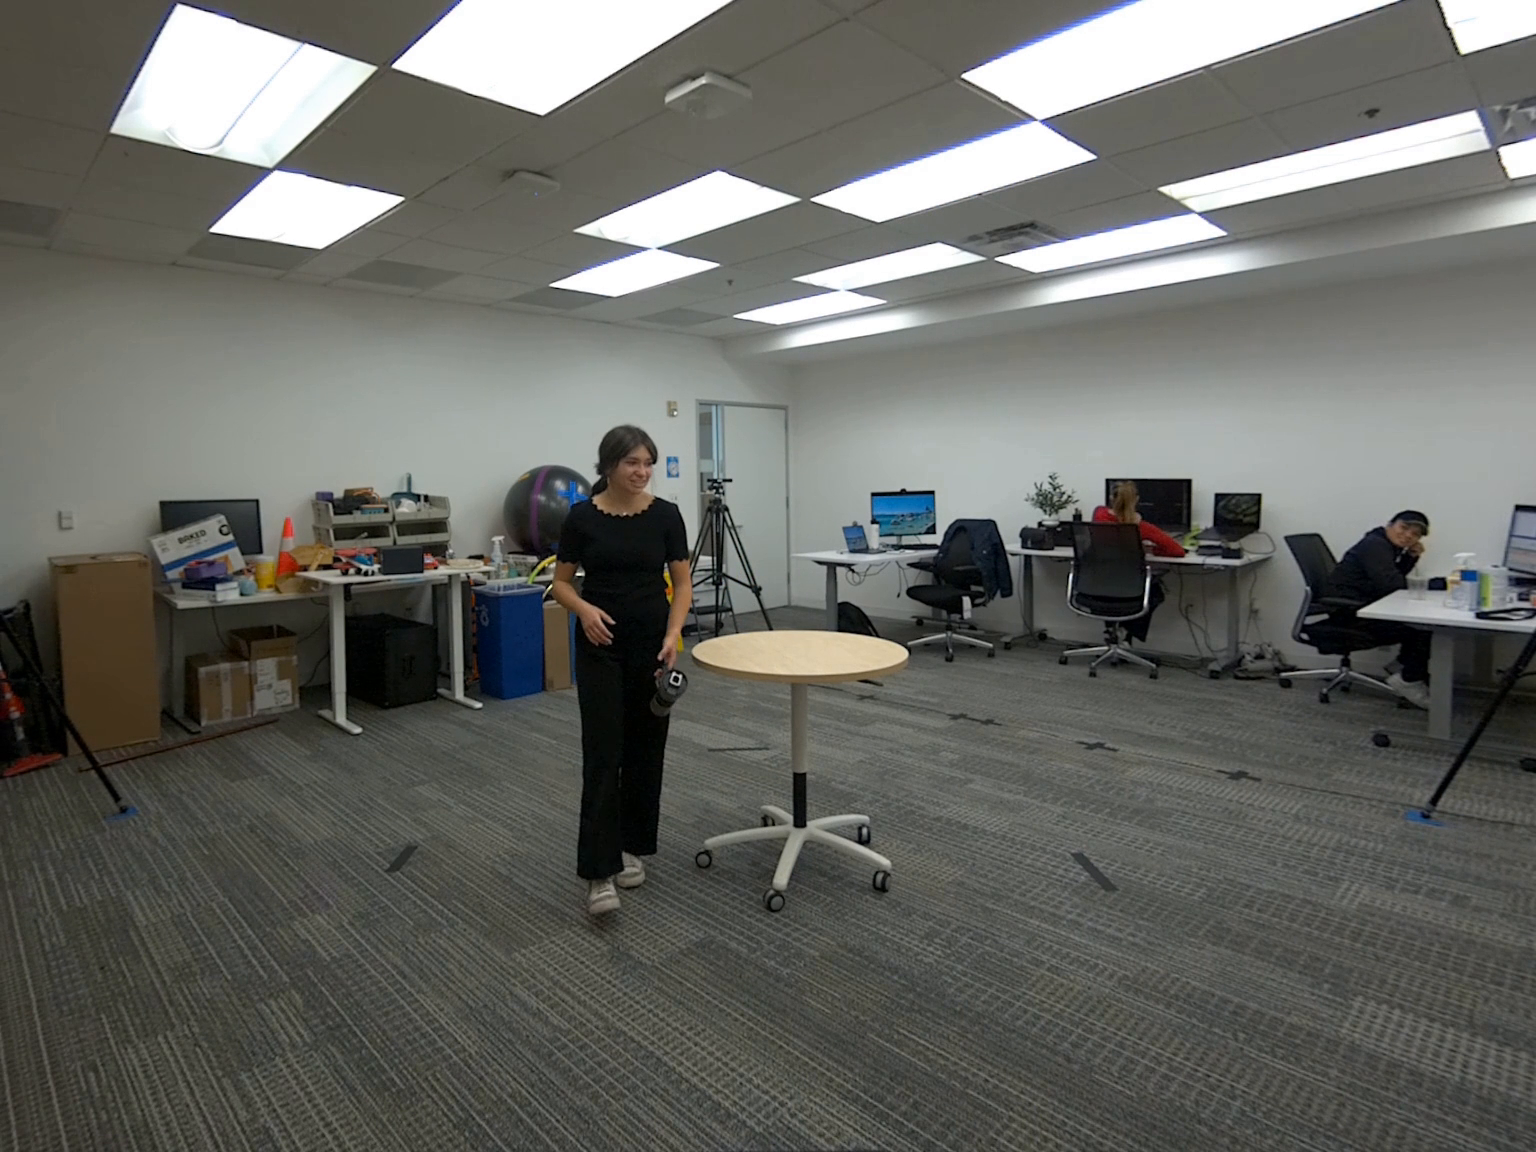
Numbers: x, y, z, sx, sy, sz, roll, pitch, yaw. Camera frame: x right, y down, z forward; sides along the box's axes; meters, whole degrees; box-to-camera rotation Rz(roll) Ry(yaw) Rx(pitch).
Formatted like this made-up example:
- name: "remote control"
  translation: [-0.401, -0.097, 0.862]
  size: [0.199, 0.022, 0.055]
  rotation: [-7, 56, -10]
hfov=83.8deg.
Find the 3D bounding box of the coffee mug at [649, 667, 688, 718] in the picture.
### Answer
- name: "coffee mug"
  translation: [-0.328, 0.381, 2.870]
  size: [0.121, 0.089, 0.201]
  rotation: [-42, -13, -41]
